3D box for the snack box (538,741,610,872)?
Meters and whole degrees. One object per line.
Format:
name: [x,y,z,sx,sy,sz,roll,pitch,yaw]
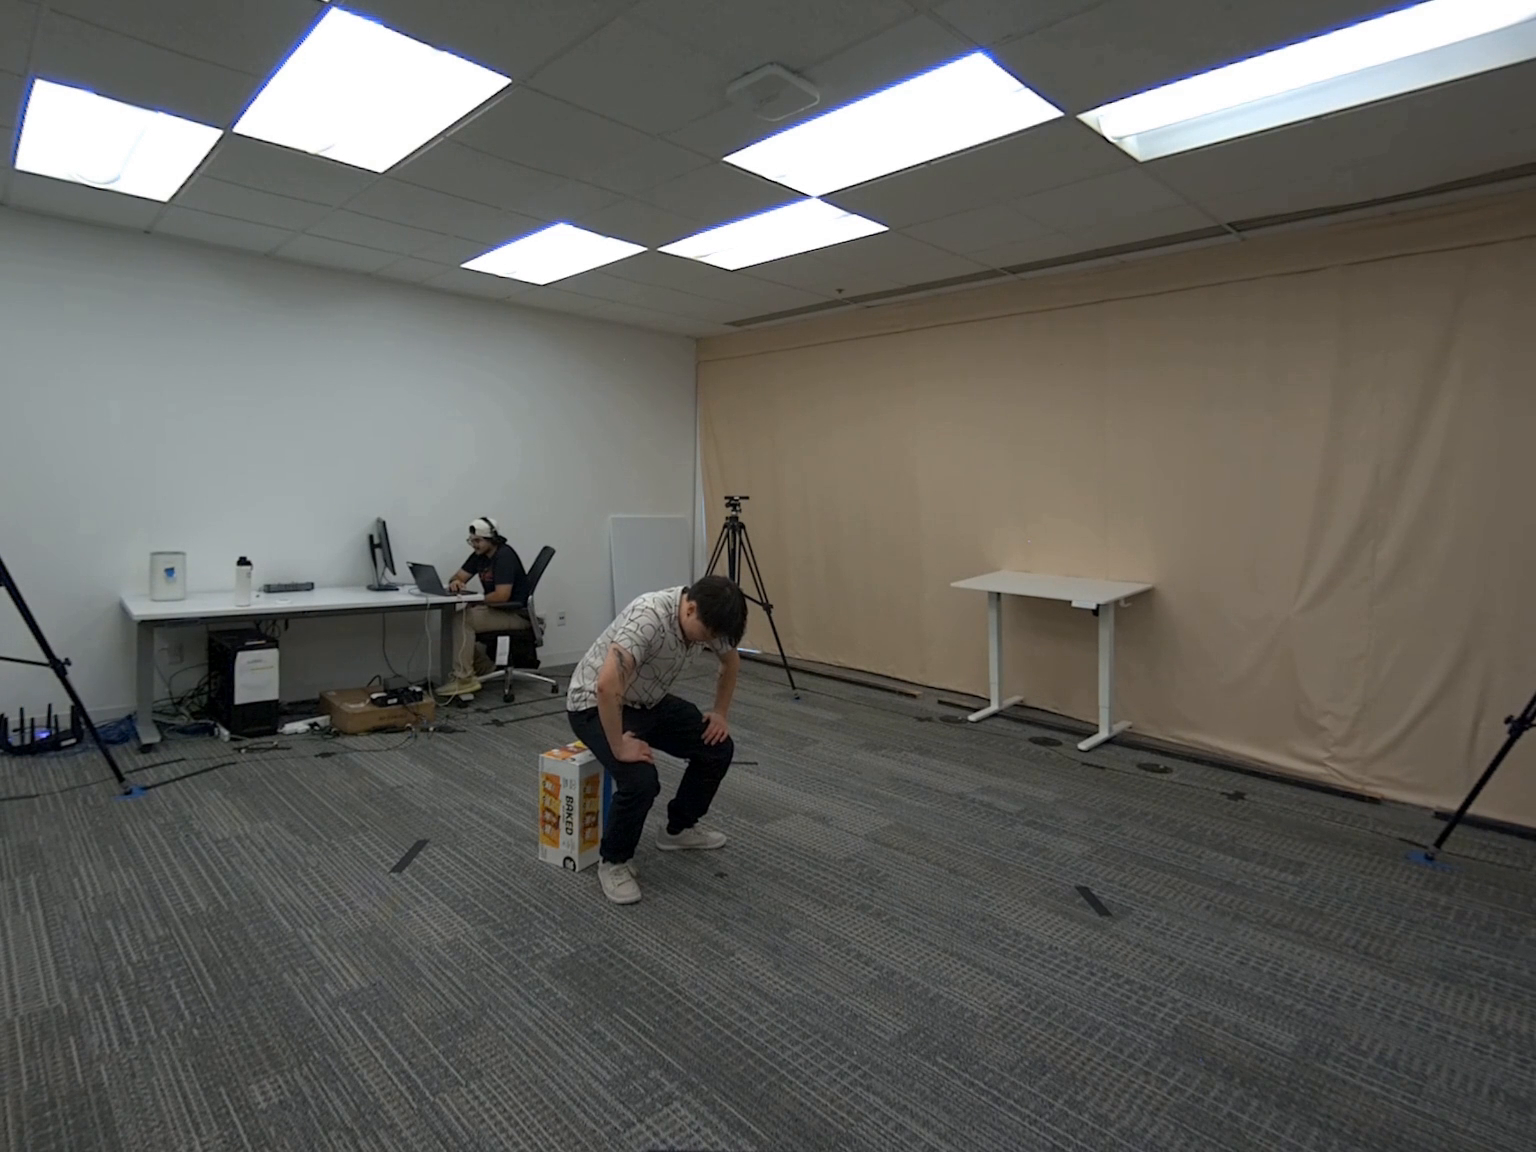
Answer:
snack box: [-0.706,0.872,3.275,0.210,0.404,0.334,4,5,30]
